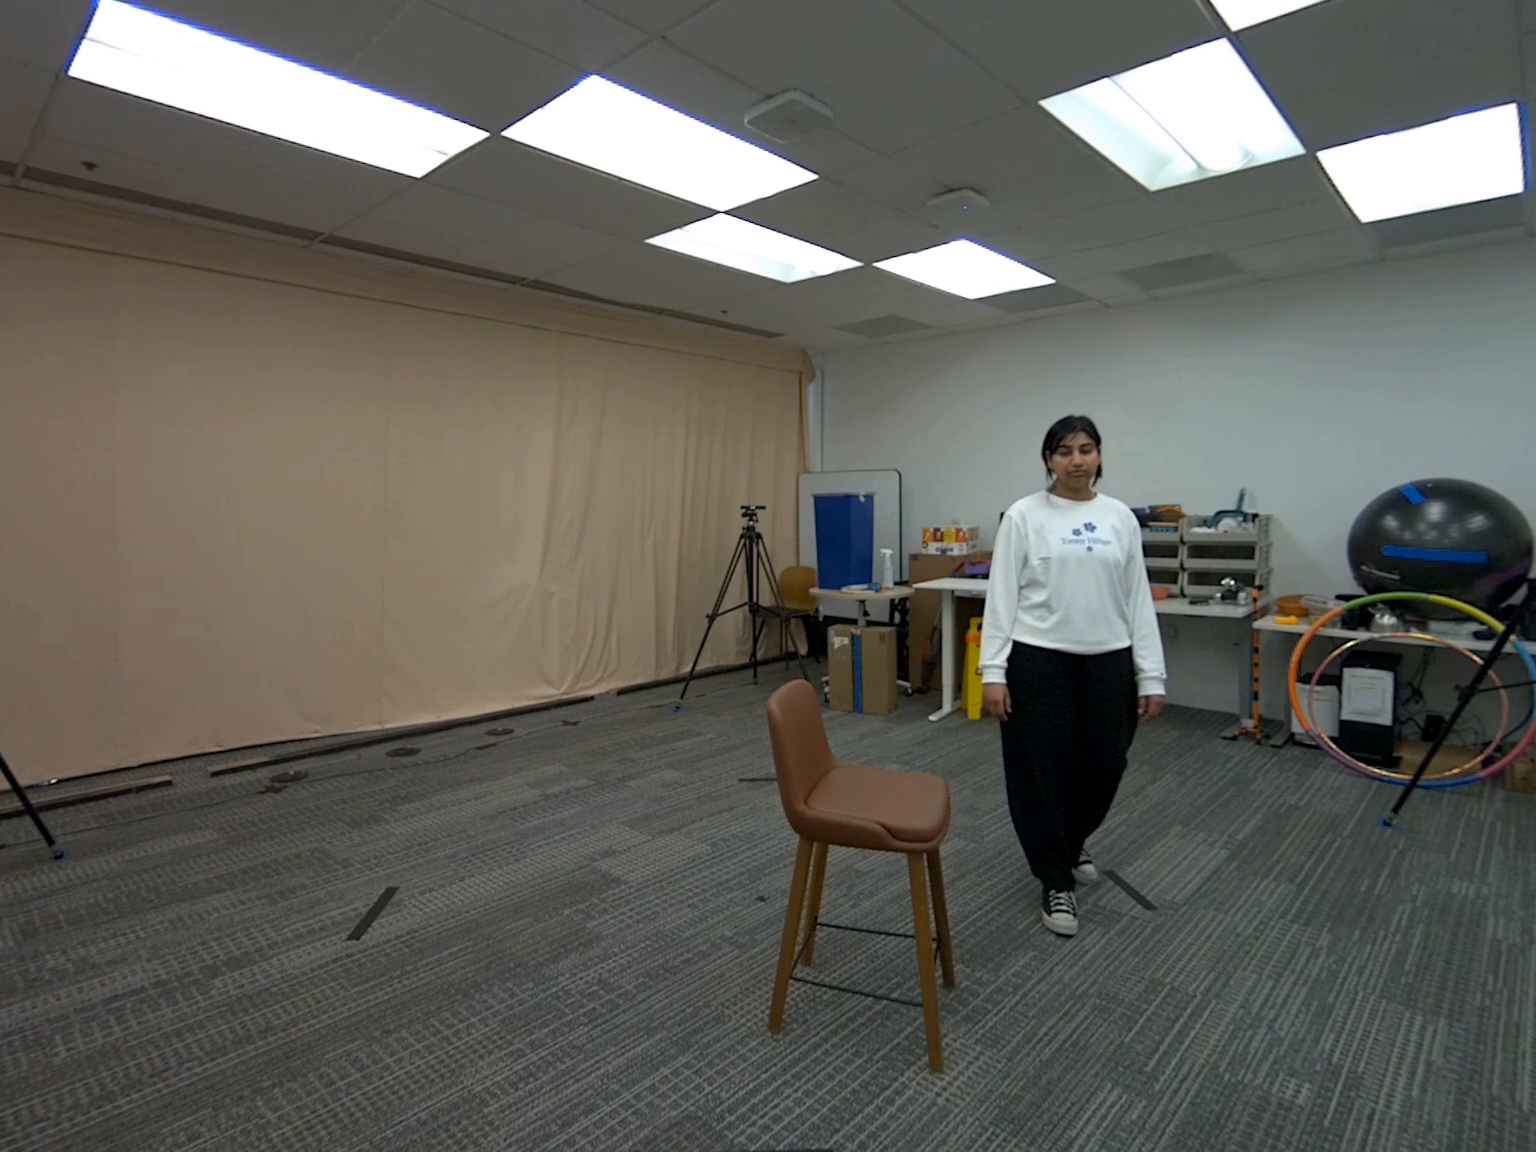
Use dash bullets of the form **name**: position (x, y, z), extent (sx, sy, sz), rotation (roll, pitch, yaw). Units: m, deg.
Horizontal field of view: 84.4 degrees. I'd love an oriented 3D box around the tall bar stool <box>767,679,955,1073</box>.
- **tall bar stool**: position (0.275, 0.765, 2.308), extent (0.478, 0.888, 0.448), rotation (0, 3, 20)
